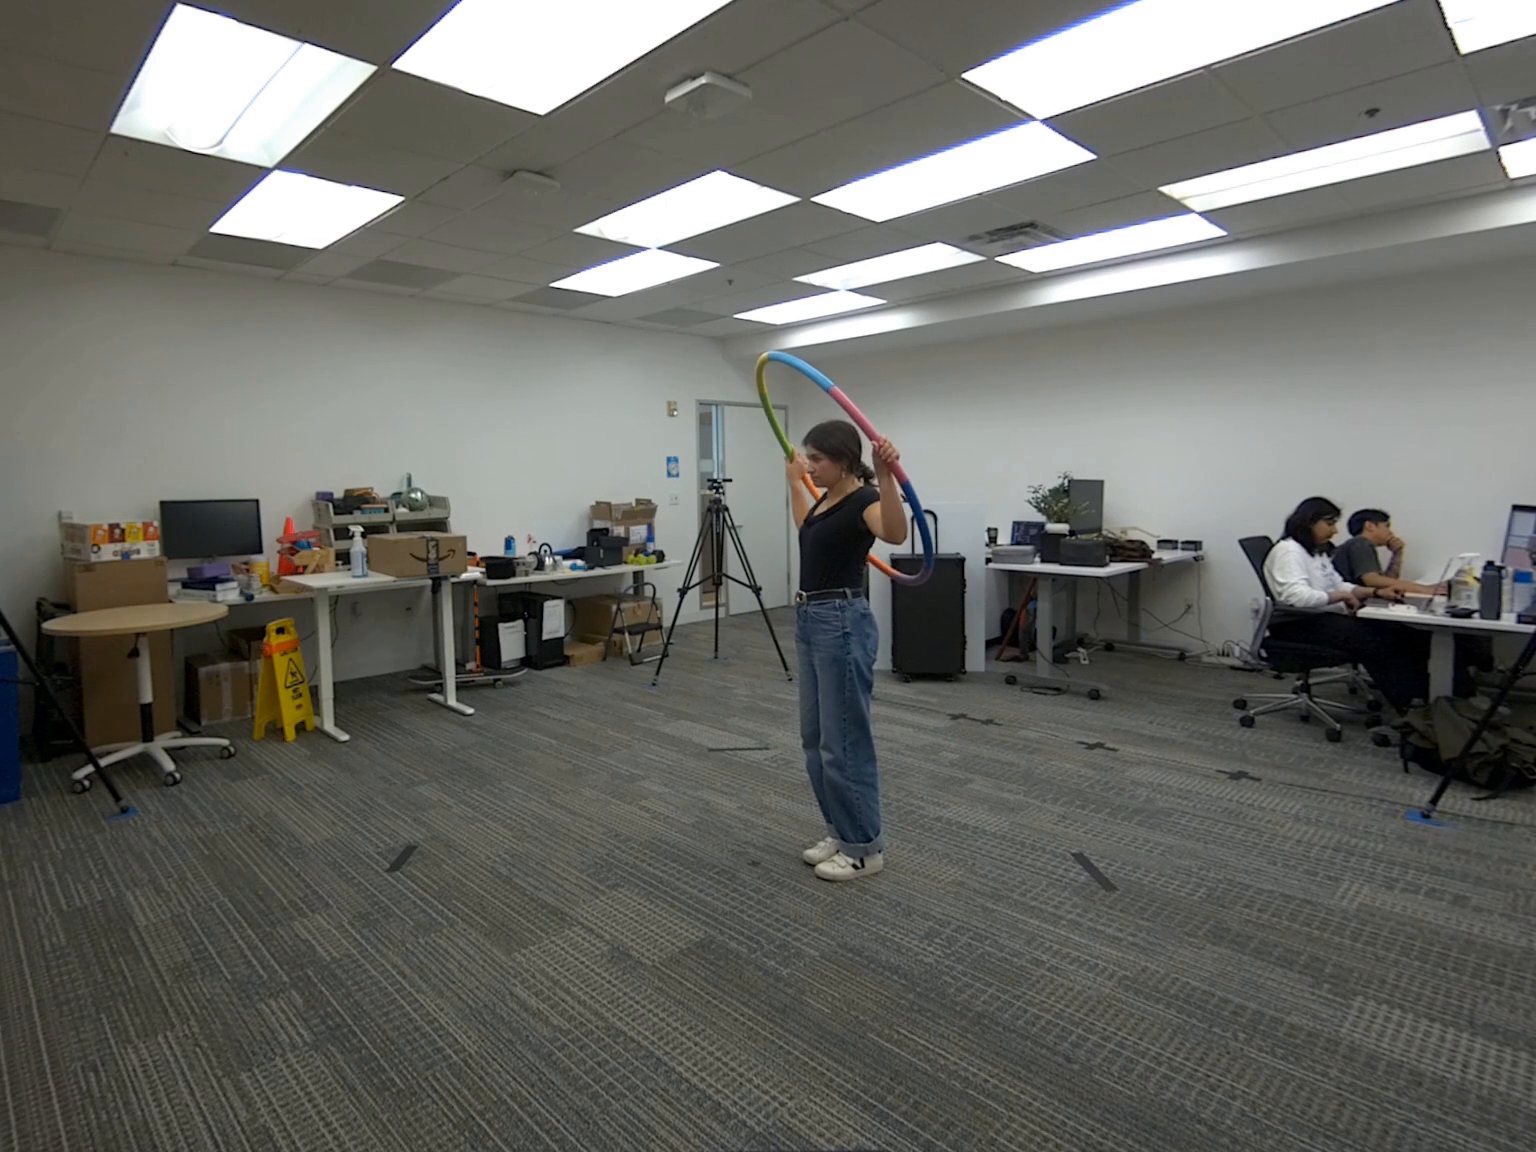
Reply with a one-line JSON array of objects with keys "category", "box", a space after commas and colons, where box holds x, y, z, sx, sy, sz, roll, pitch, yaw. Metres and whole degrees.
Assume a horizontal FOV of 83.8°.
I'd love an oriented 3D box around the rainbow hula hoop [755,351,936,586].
[{"category": "rainbow hula hoop", "box": [0.248, -0.376, 3.047, 0.035, 0.967, 0.993, -35, 11, -8]}]
